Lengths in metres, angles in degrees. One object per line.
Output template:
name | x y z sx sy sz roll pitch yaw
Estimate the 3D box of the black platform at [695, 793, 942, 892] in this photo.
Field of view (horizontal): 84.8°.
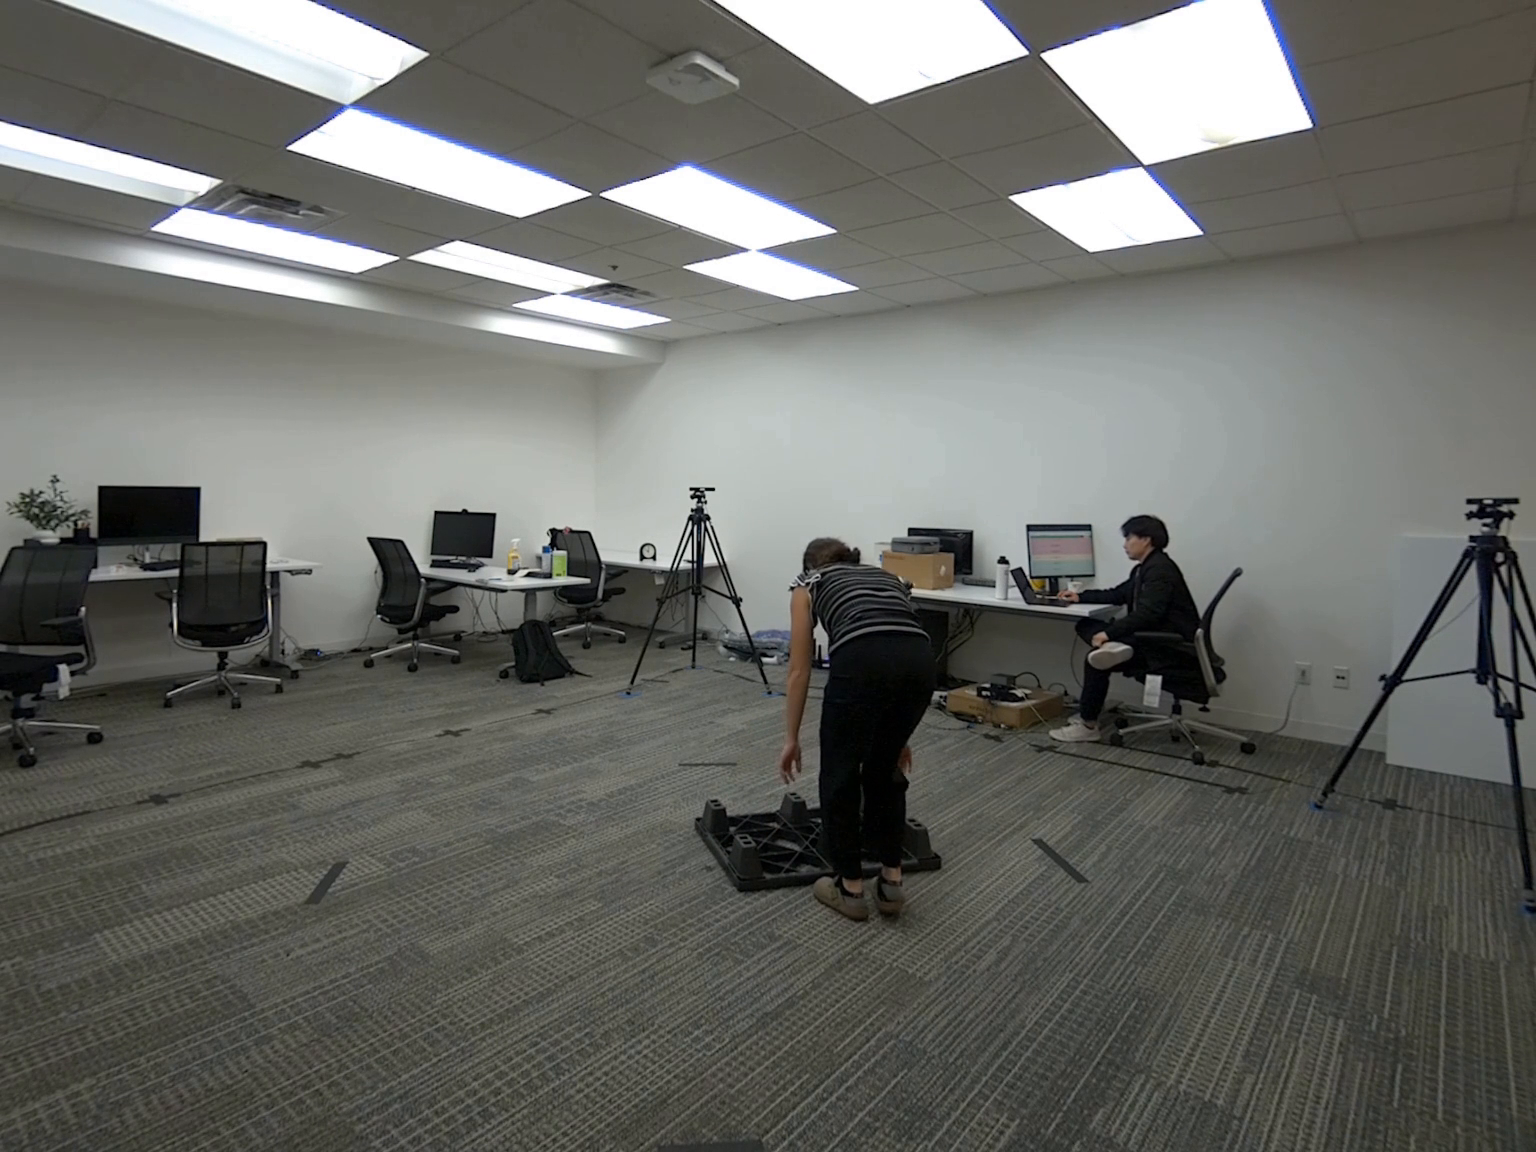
black platform | 0.165 0.985 3.321 0.790 0.143 0.619 0 6 -19
